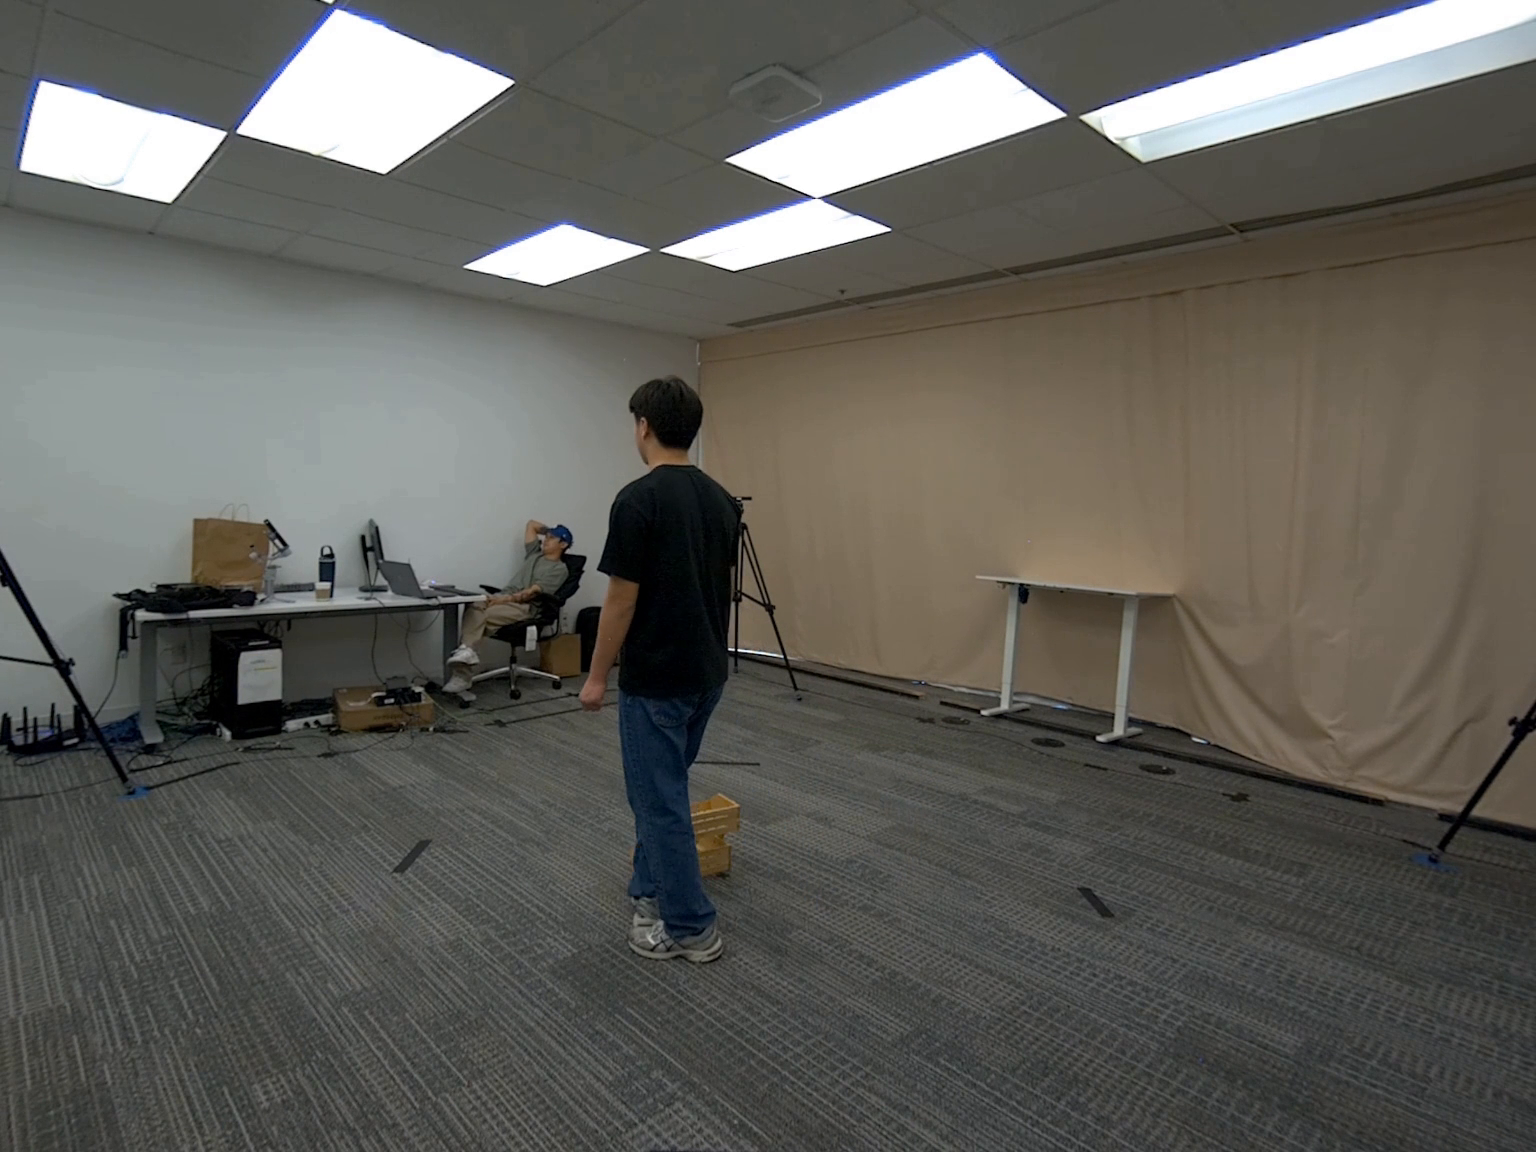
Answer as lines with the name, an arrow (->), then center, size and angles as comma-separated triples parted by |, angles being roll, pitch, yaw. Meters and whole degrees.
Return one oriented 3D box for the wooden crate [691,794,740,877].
wooden crate -> -0.319, 0.967, 3.154 | 0.317, 0.272, 0.309 | -2, 6, -34
